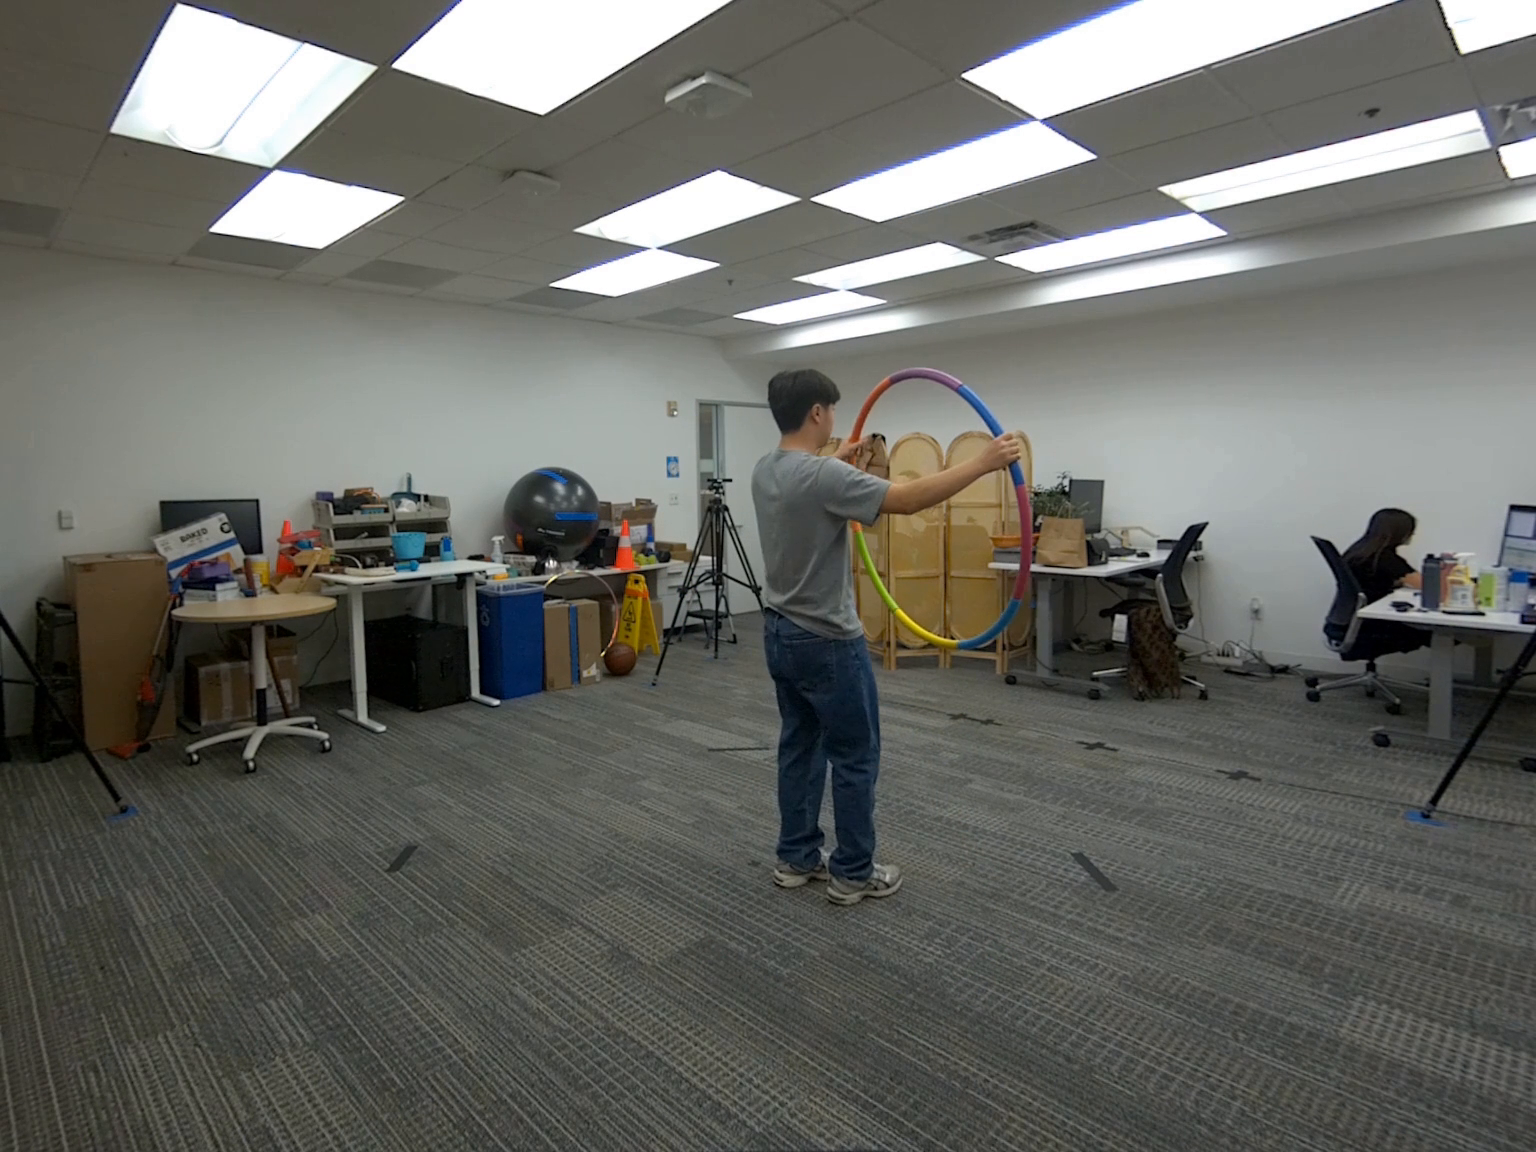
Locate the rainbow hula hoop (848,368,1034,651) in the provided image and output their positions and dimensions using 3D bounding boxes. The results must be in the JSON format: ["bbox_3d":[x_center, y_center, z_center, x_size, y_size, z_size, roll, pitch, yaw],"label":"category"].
[{"bbox_3d":[0.545,-0.225,2.980,0.035,0.971,1.002,-11,8,-24],"label":"rainbow hula hoop"}]
